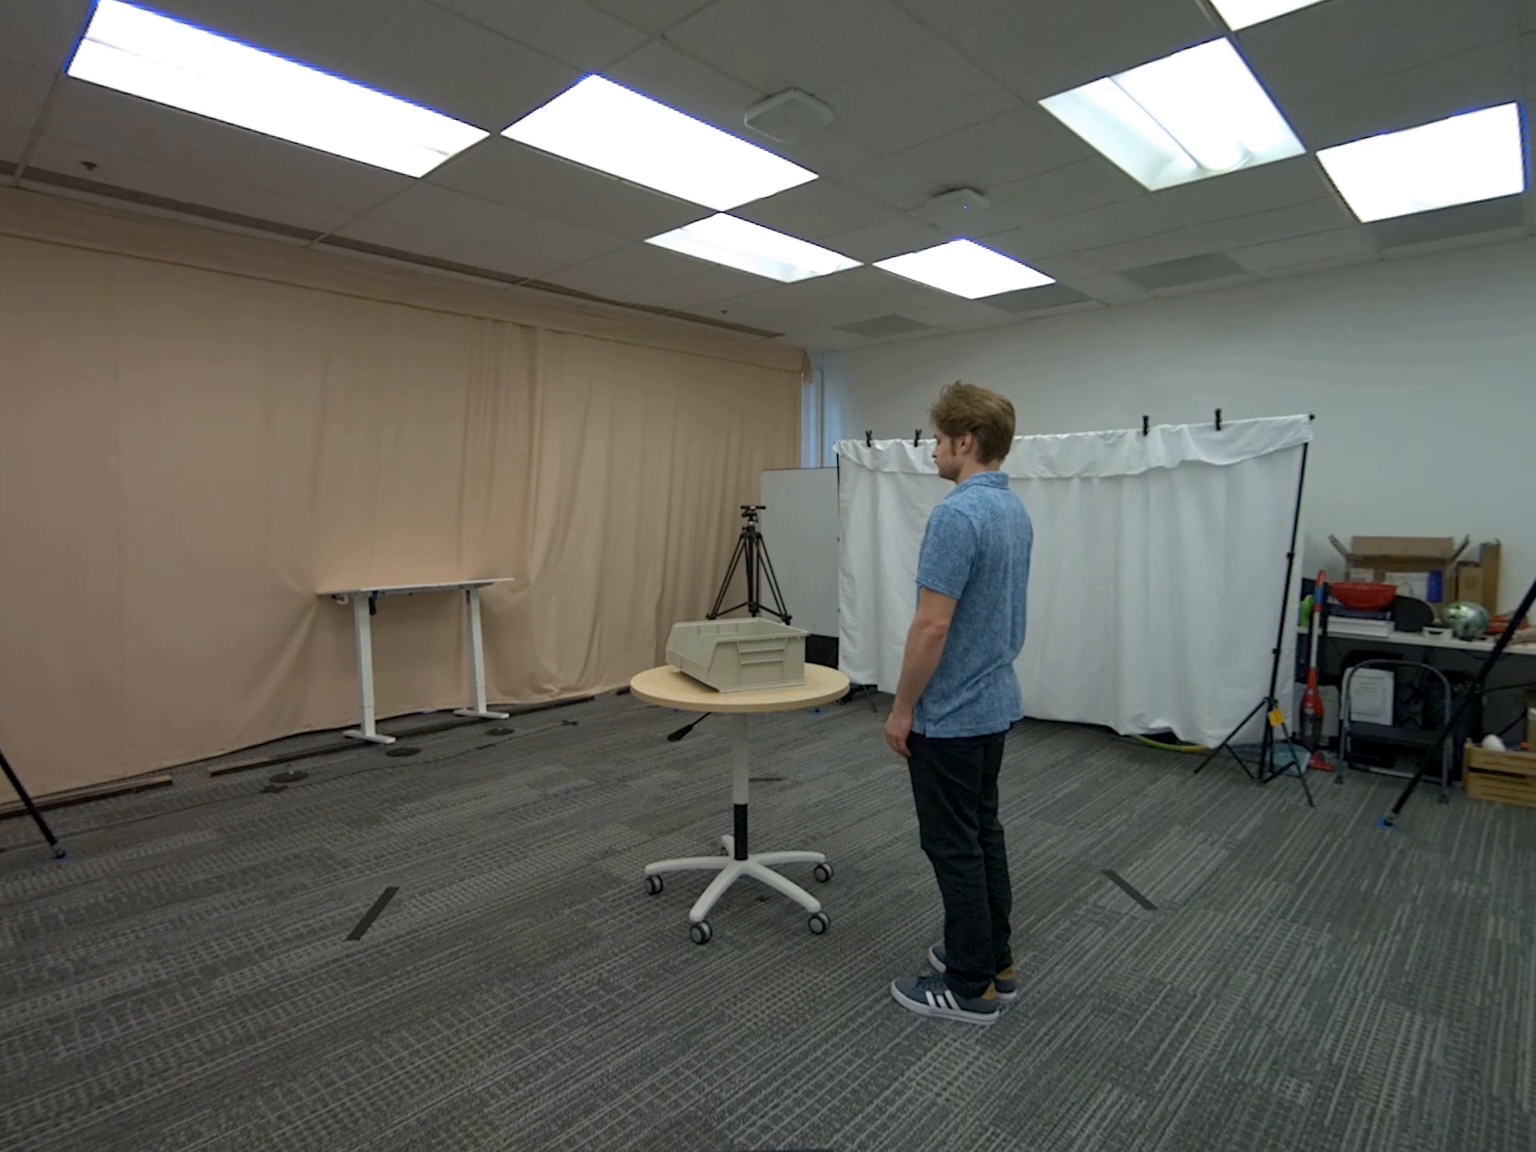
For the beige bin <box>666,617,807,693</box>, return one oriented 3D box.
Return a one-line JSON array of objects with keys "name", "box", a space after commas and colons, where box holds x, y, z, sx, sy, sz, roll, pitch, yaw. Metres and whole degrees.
[{"name": "beige bin", "box": [-0.117, 0.272, 2.969, 0.369, 0.188, 0.432, -1, 4, -23]}]
